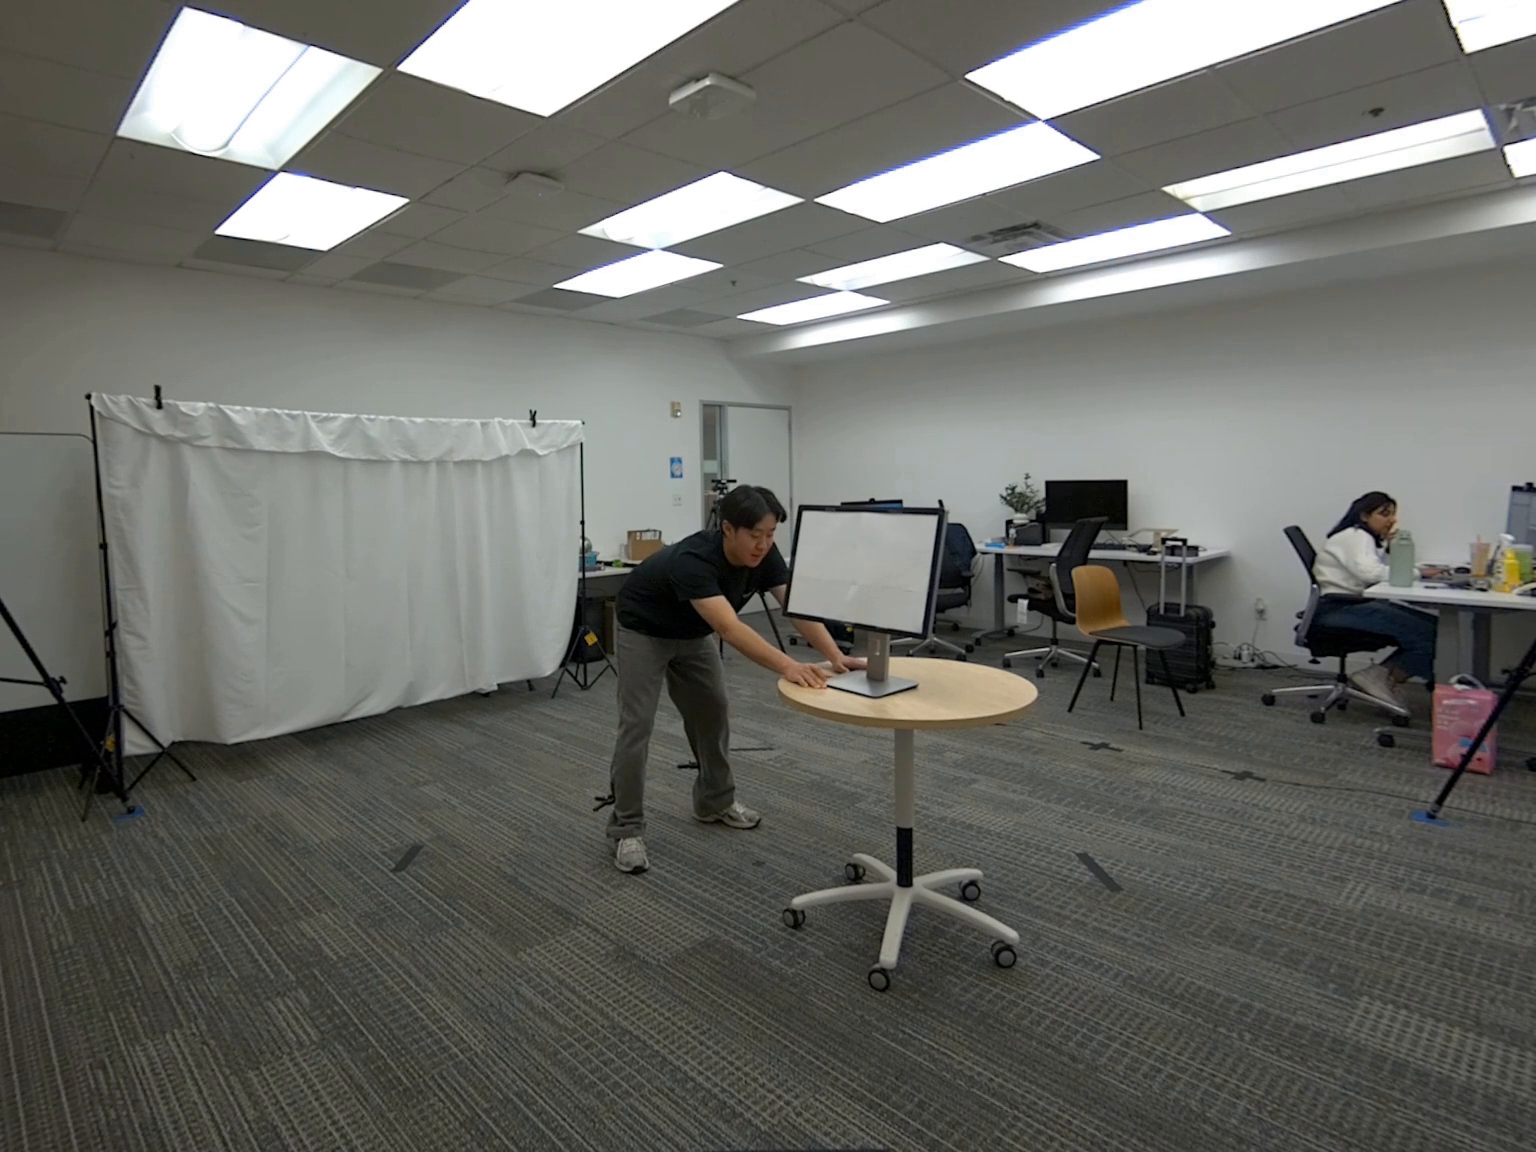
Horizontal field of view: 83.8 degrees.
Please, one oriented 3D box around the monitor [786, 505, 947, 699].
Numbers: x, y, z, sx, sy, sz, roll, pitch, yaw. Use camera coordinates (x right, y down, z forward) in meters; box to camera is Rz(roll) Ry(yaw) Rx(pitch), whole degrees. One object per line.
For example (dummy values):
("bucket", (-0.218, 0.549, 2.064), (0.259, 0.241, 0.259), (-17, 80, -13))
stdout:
("monitor", (0.321, 0.064, 2.574), (0.204, 0.554, 0.583), (4, 0, -43))
